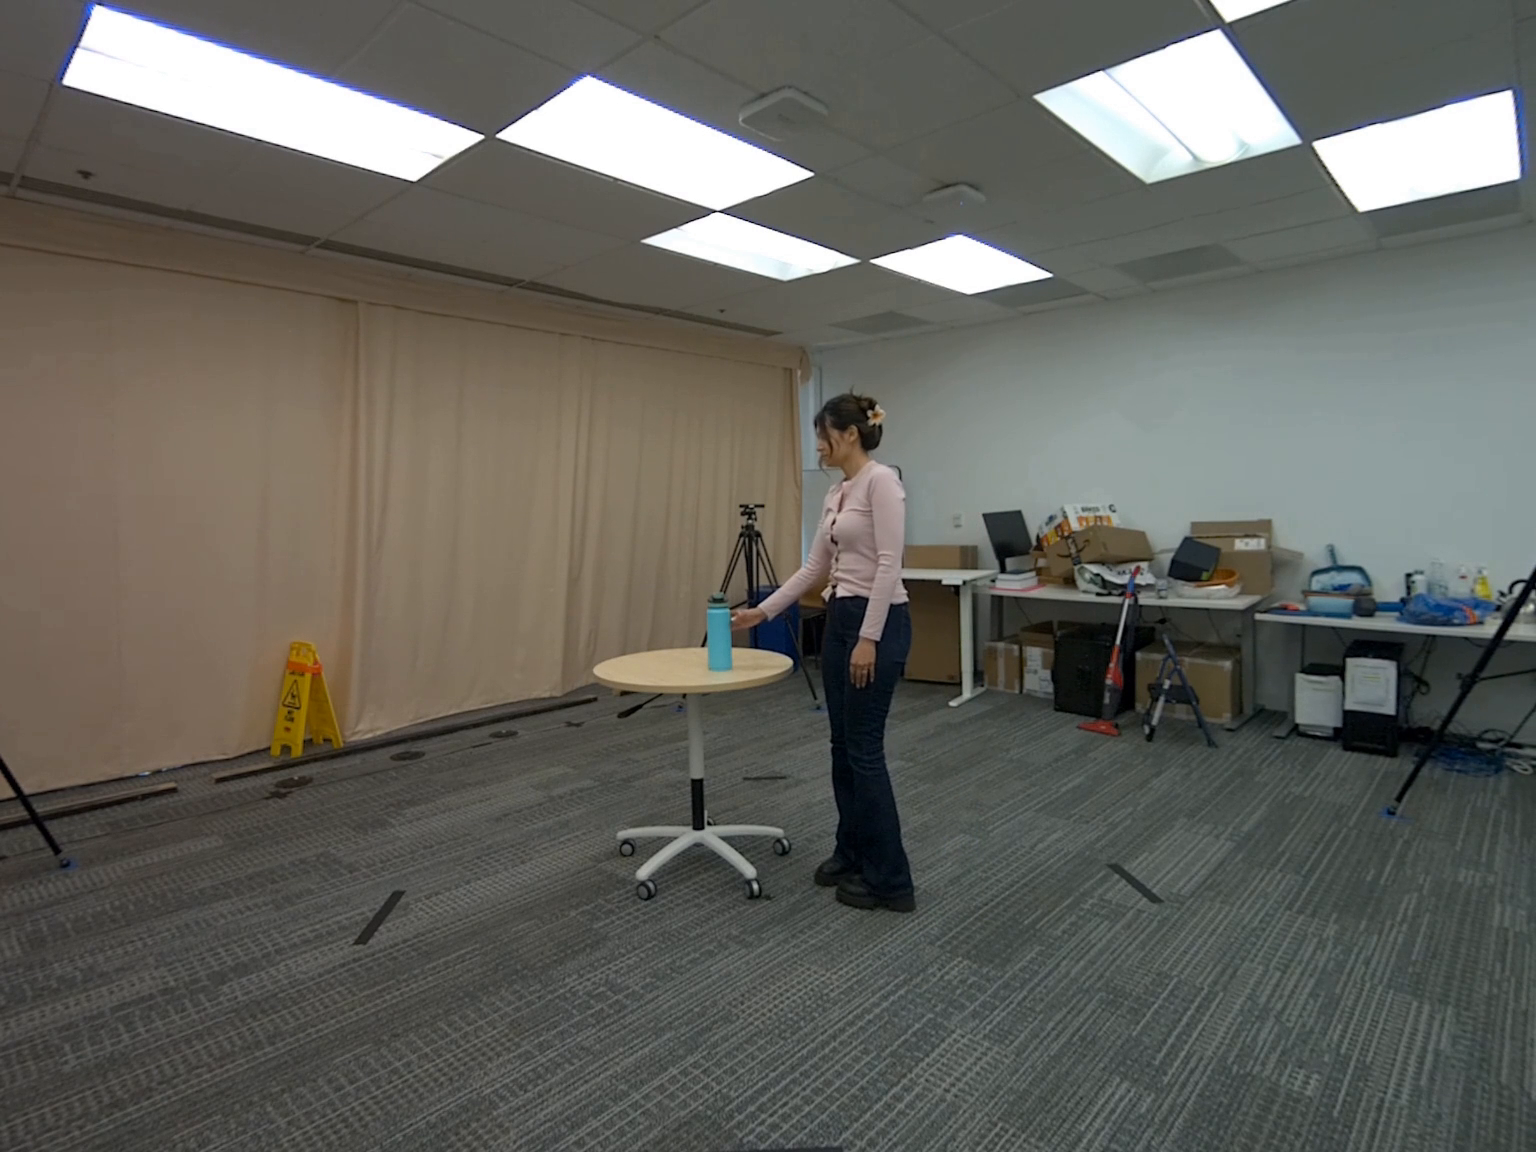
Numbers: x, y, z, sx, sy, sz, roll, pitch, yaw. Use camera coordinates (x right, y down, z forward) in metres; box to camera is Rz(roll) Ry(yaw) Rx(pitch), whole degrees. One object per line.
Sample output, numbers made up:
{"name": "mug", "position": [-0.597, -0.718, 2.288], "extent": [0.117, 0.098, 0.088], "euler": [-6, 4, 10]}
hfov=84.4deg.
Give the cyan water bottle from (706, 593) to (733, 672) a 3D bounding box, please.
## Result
{"name": "cyan water bottle", "position": [-0.175, 0.208, 3.138], "extent": [0.092, 0.283, 0.092], "euler": [-2, 2, -2]}
